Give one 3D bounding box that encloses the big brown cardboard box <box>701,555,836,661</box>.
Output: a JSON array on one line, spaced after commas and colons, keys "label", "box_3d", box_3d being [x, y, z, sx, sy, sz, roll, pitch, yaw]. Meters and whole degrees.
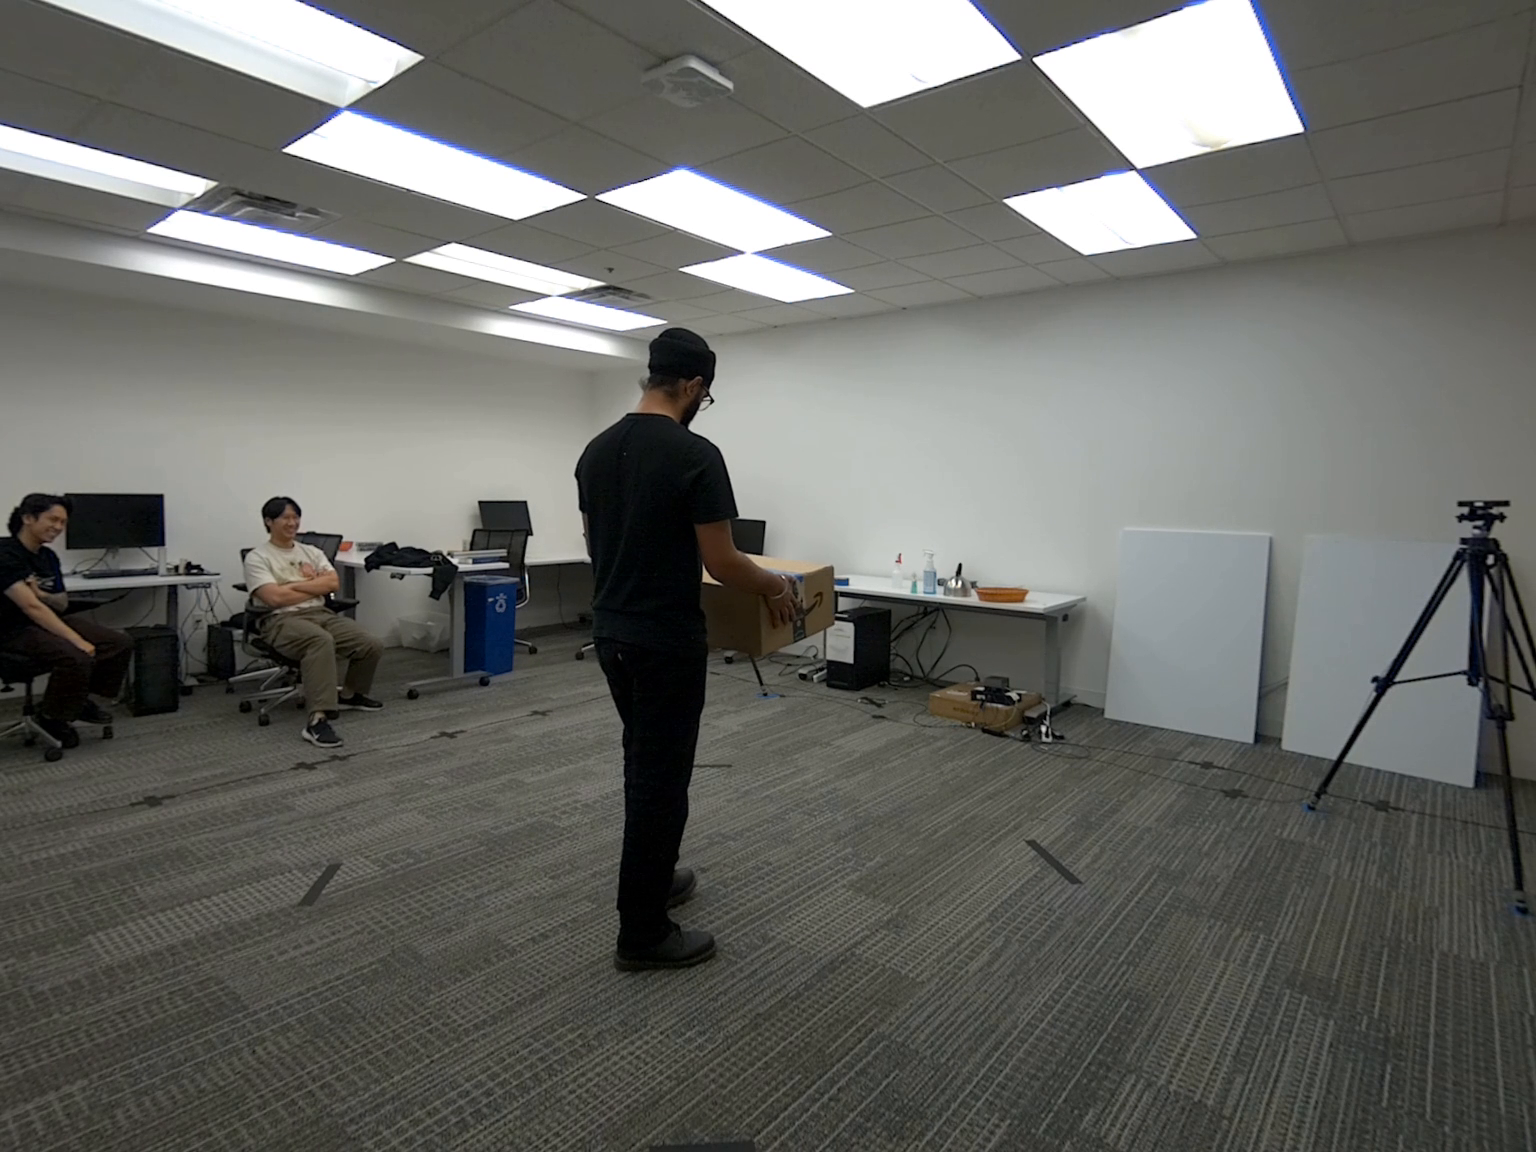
[{"label": "big brown cardboard box", "box_3d": [-0.130, 0.078, 2.953, 0.609, 0.230, 0.408, 8, 17, 38]}]
